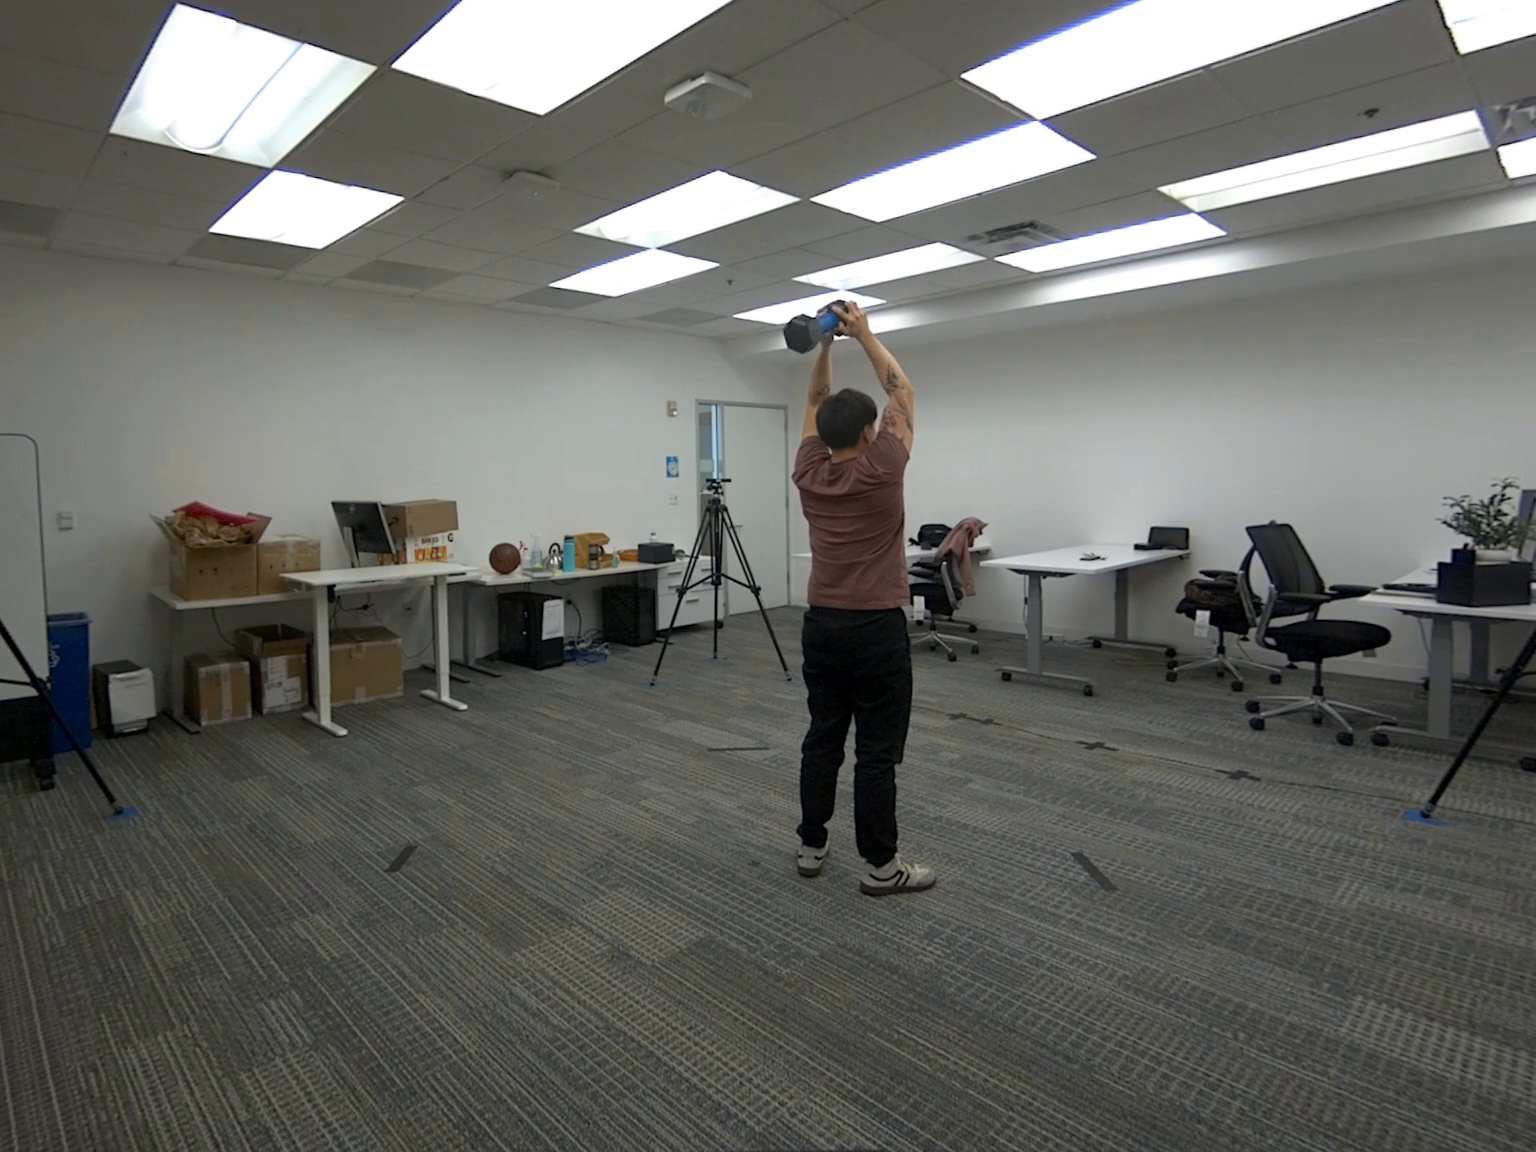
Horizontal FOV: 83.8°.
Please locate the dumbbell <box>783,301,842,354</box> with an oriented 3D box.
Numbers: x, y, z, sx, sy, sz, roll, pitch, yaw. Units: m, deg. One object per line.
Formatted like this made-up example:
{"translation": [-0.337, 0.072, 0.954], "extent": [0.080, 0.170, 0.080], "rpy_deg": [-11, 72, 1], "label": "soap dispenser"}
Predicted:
{"translation": [0.186, -0.834, 2.841], "extent": [0.112, 0.121, 0.291], "rpy_deg": [0, 26, 47], "label": "dumbbell"}
